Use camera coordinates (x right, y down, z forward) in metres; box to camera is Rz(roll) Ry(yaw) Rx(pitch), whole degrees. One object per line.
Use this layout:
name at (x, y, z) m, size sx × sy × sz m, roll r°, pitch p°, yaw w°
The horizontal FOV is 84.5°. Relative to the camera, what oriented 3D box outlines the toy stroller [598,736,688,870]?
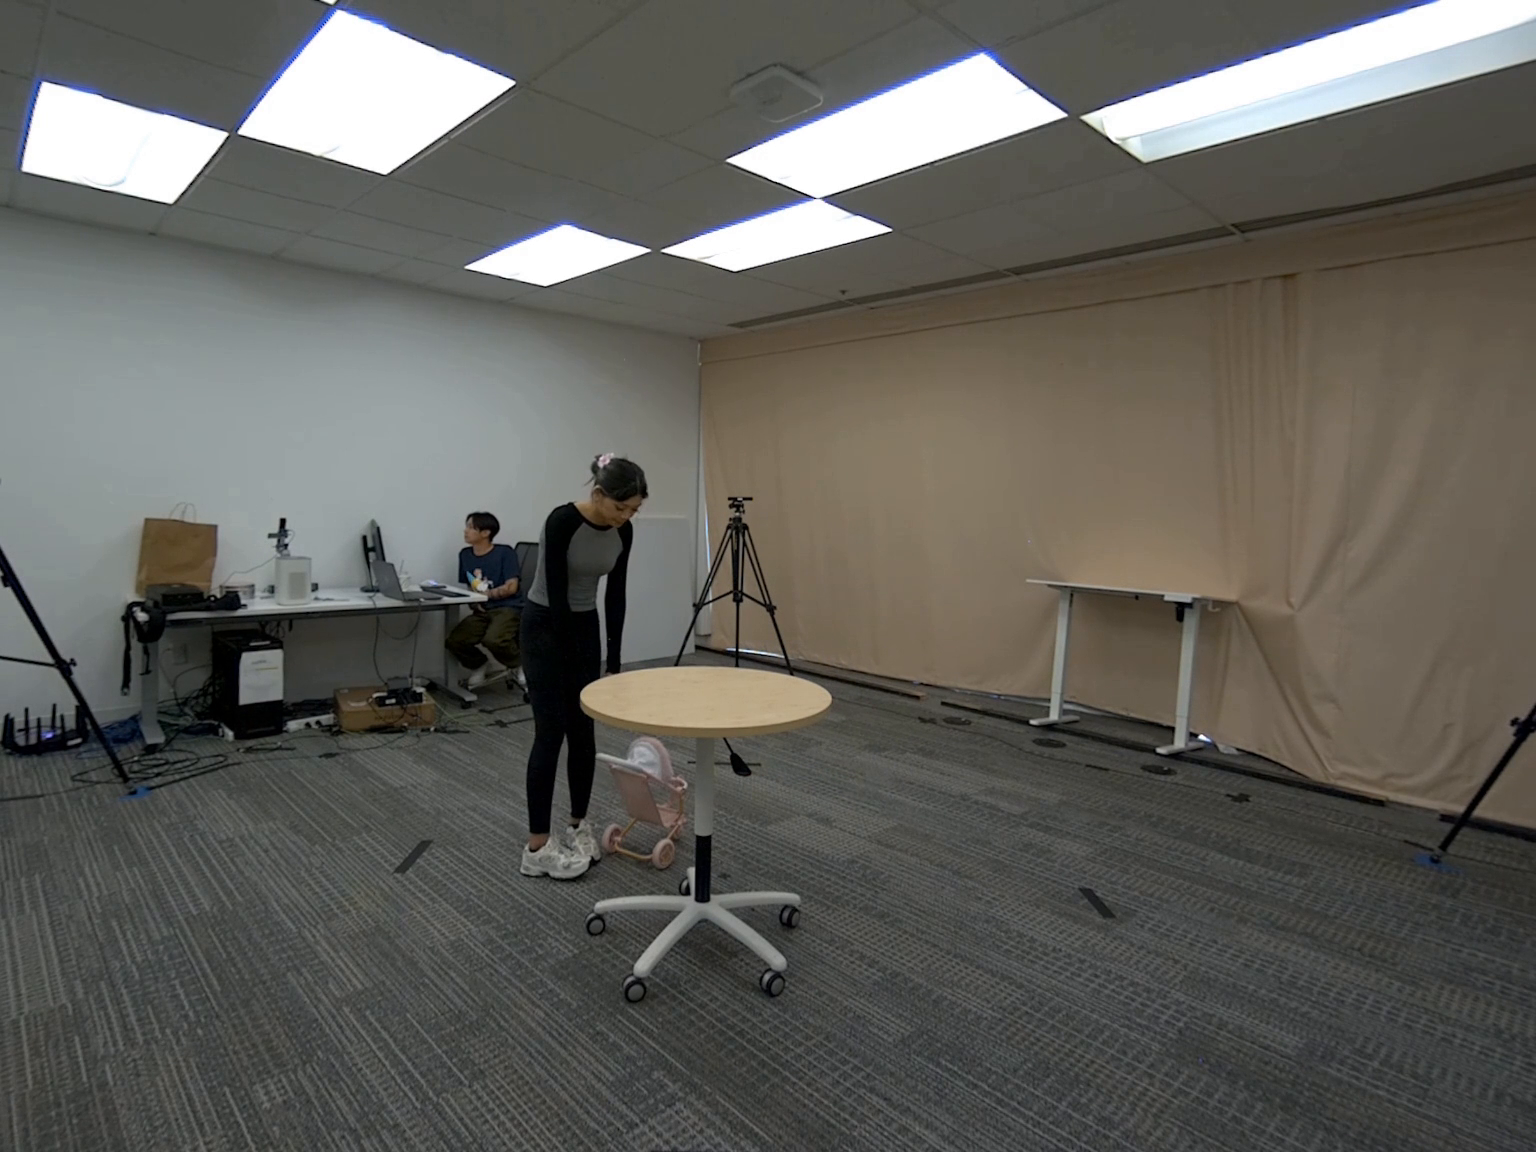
toy stroller at (-0.465, 0.862, 3.264) m, size 0.288 × 0.528 × 0.337 m, roll 5°, pitch 20°, yaw 34°
